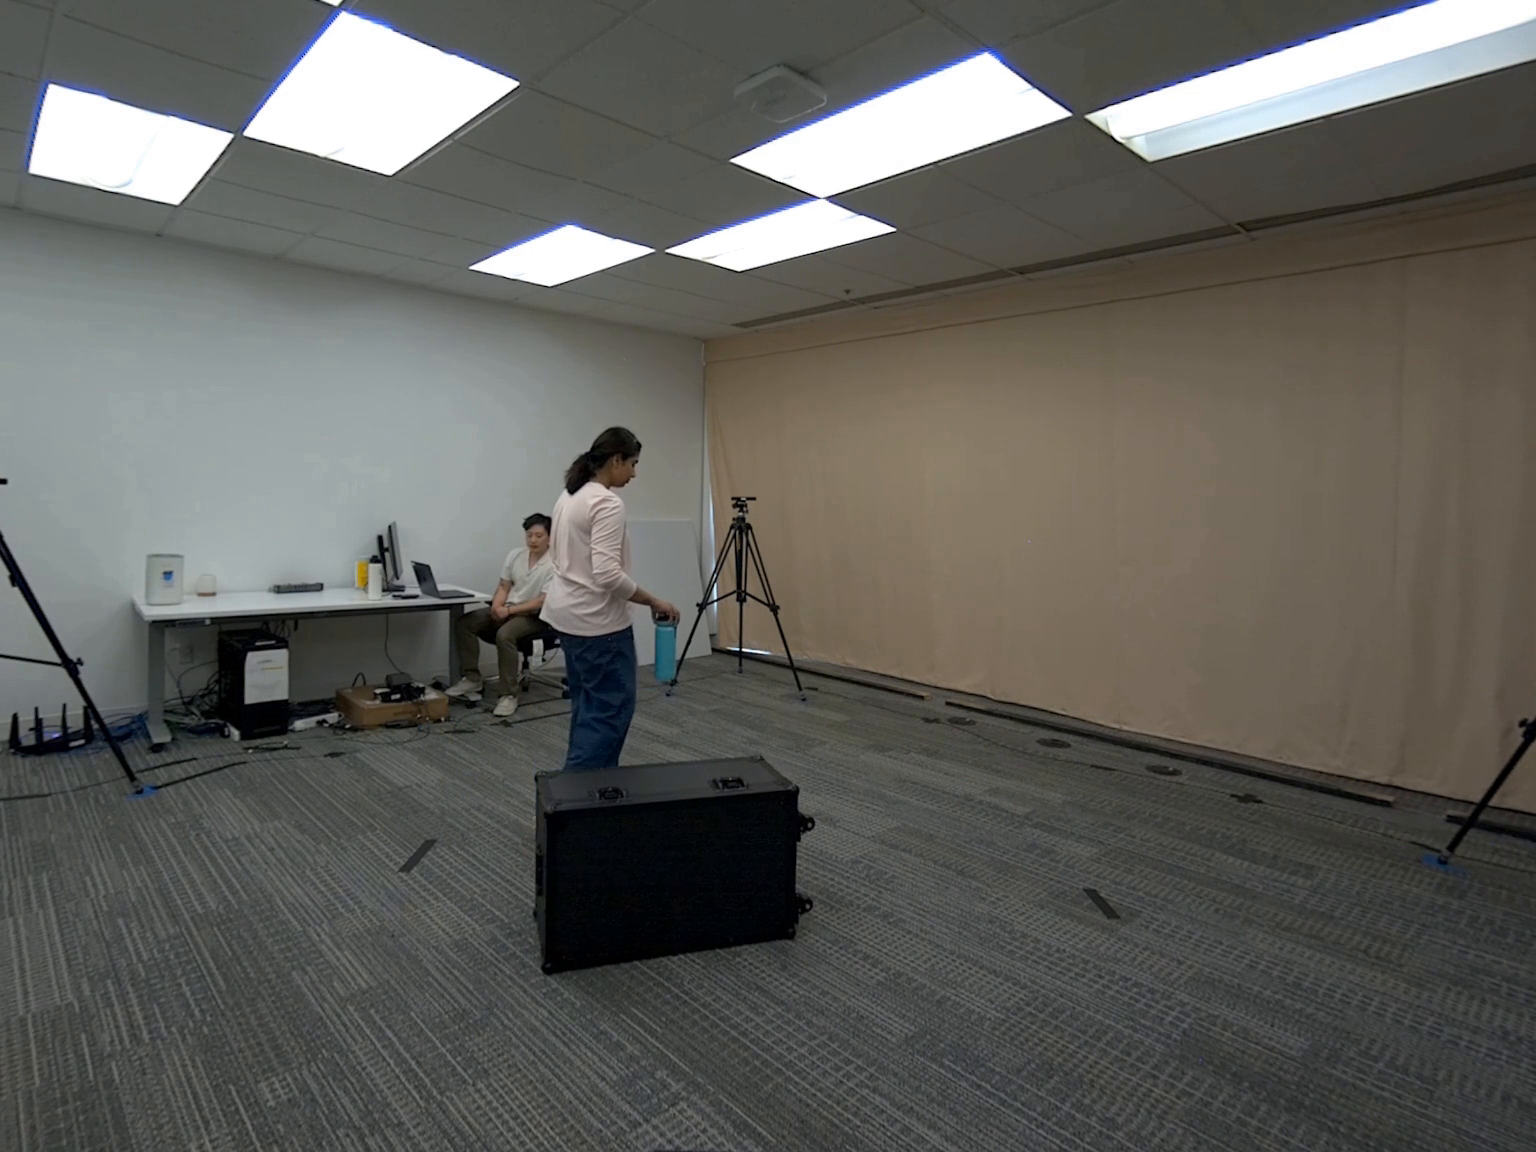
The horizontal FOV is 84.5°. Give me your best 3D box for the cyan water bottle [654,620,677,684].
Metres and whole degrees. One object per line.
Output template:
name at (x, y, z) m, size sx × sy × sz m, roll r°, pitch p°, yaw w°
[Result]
cyan water bottle at (-0.444, 0.287, 3.492) m, size 0.092 × 0.282 × 0.093 m, roll 3°, pitch 7°, yaw -2°
